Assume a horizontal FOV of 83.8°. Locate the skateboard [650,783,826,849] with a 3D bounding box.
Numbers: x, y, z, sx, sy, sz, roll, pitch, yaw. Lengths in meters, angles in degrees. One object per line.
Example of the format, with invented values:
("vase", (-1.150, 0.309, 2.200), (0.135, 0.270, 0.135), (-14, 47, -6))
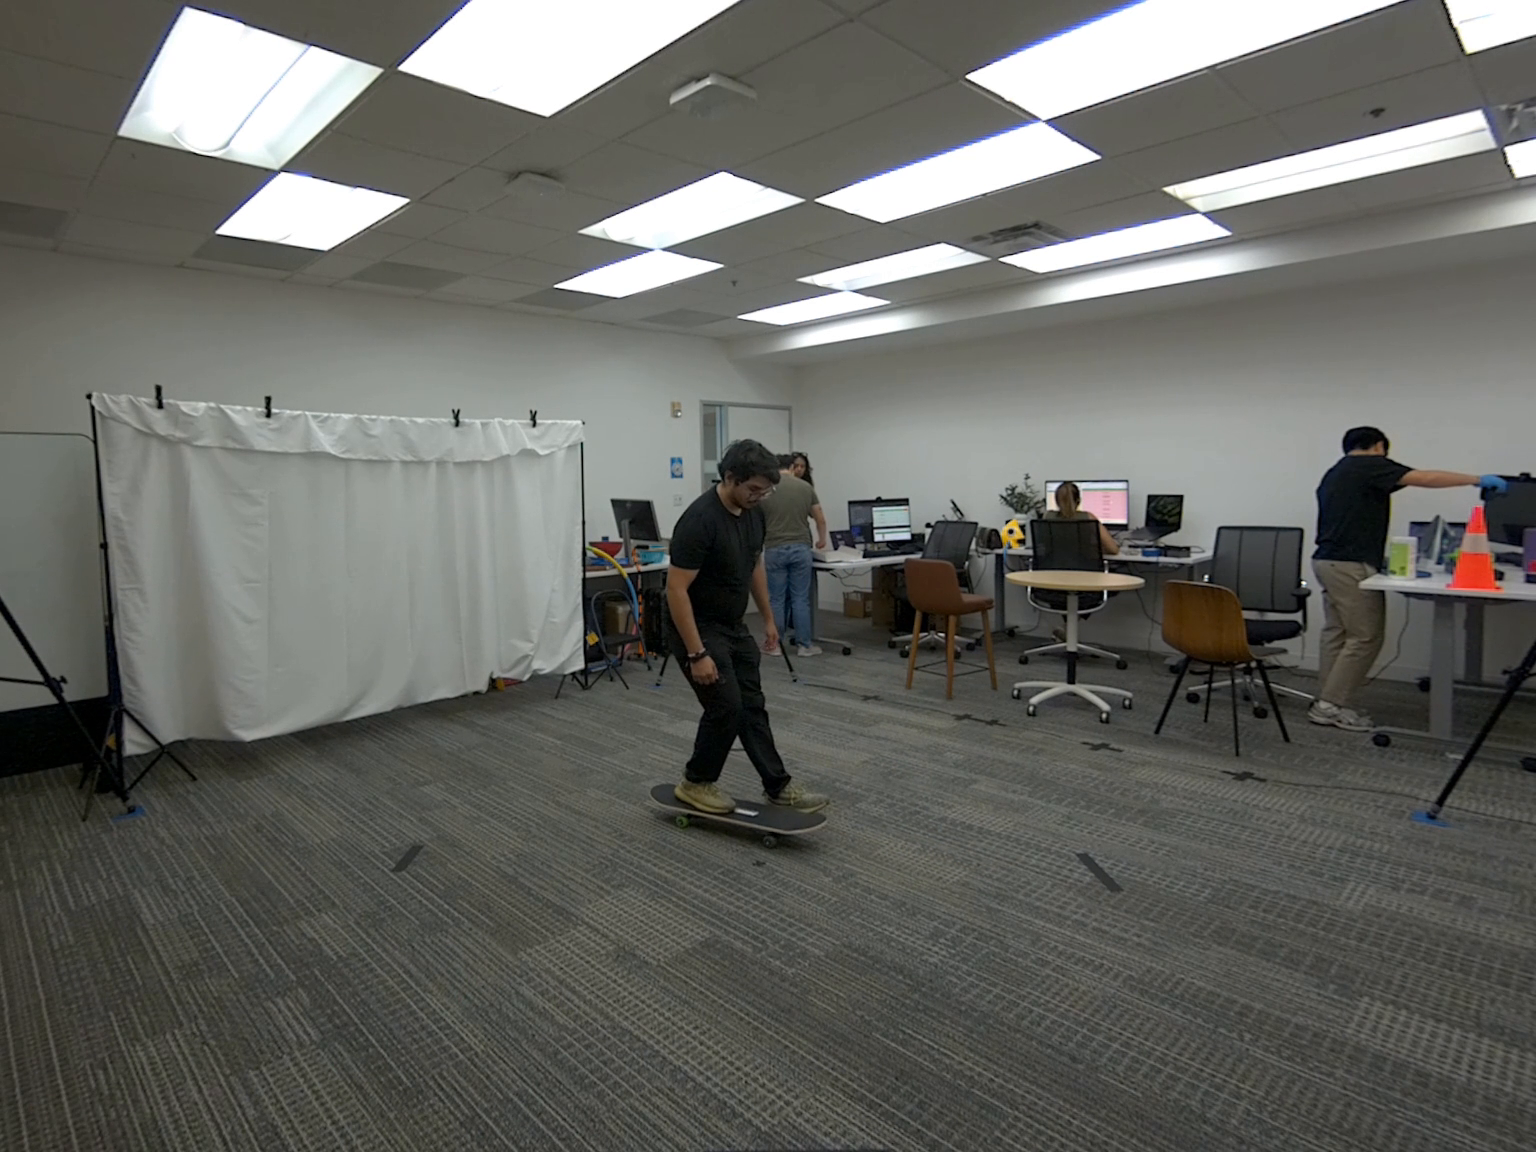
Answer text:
("skateboard", (-0.124, 0.963, 3.415), (0.806, 0.110, 0.190), (2, 8, 30))
